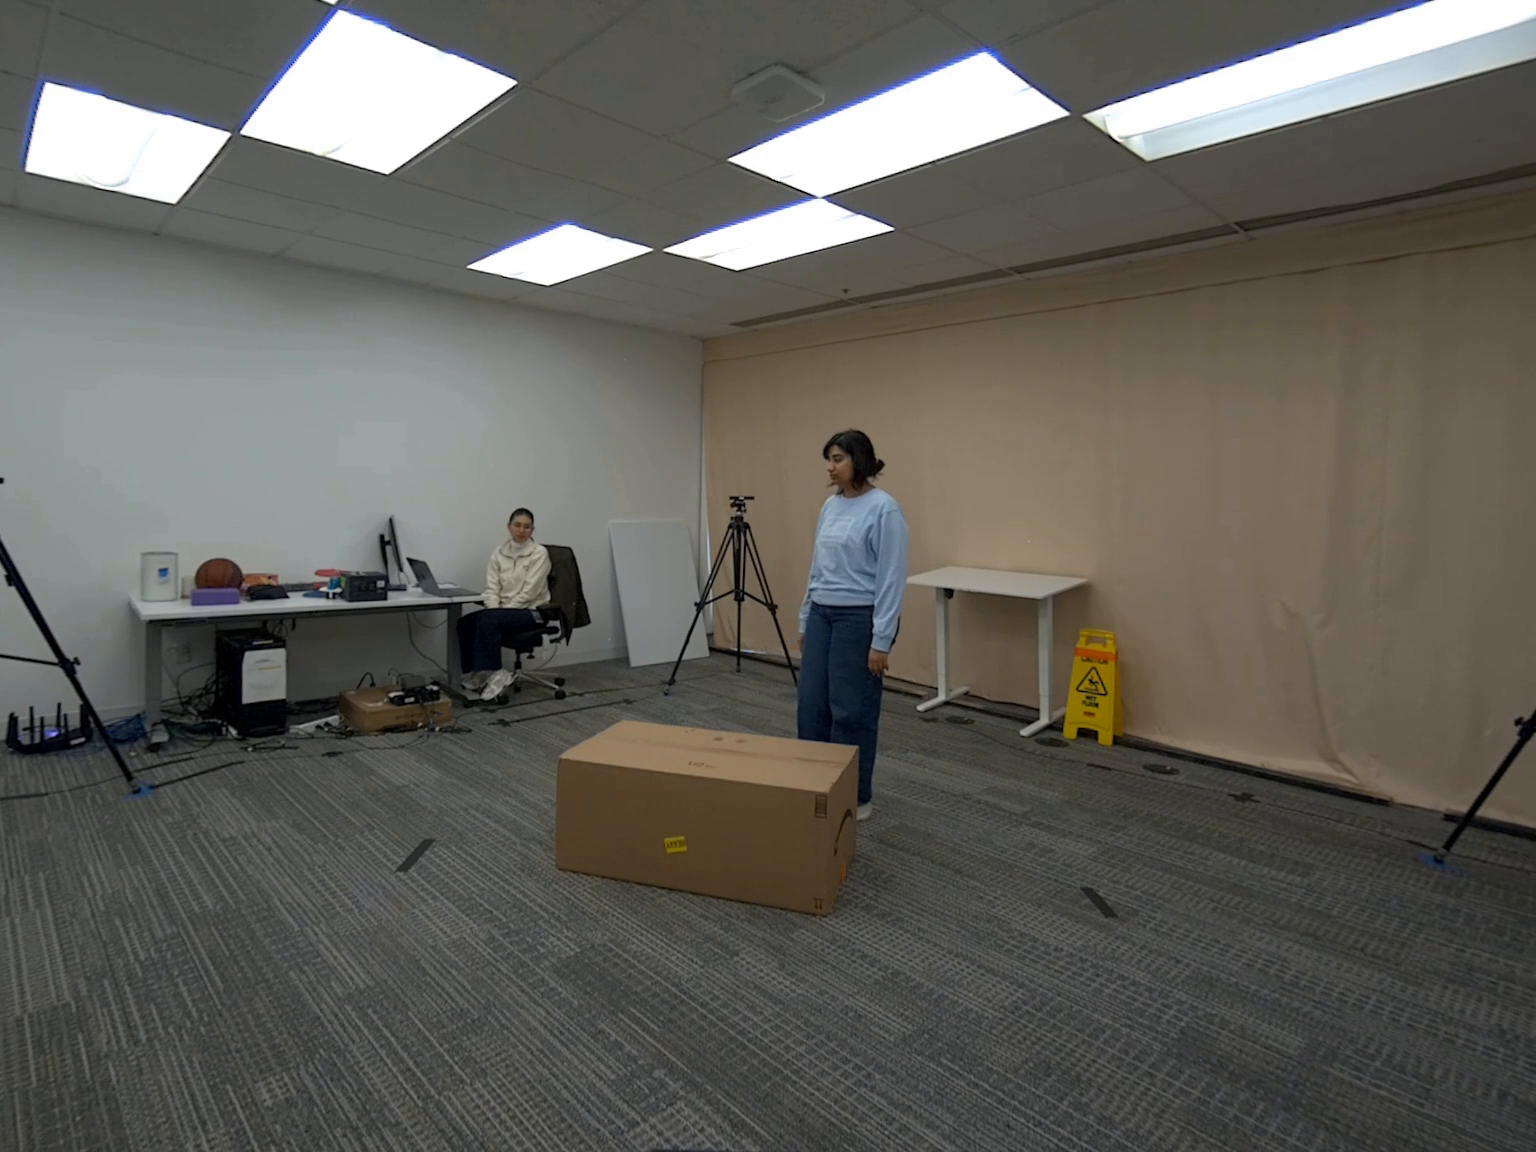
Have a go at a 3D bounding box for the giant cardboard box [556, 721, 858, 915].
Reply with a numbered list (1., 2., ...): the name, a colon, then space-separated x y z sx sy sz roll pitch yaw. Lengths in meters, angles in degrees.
1. giant cardboard box: -0.219 0.875 3.214 1.041 0.425 0.571 3 4 18
